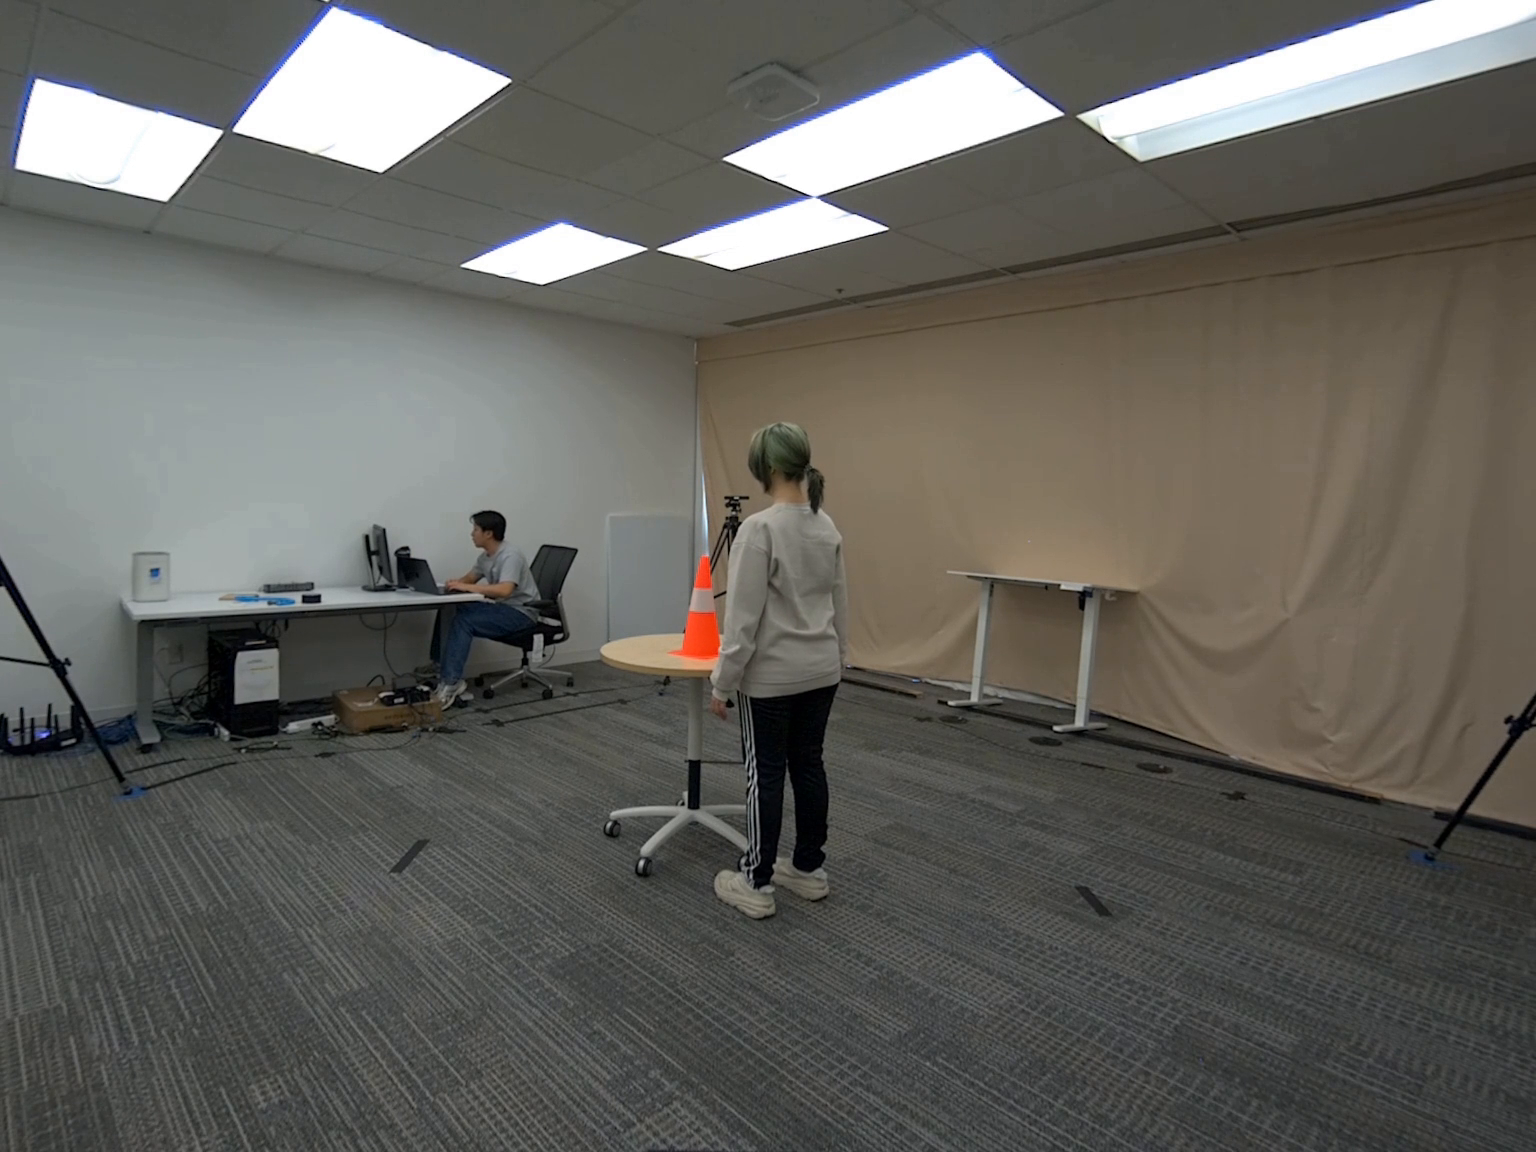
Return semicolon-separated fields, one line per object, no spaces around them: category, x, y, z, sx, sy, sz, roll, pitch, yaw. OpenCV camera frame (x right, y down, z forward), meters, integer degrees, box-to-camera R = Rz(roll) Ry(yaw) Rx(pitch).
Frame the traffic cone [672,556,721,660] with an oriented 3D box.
traffic cone;-0.260;0.116;3.275;0.208;0.383;0.200;4;4;34
